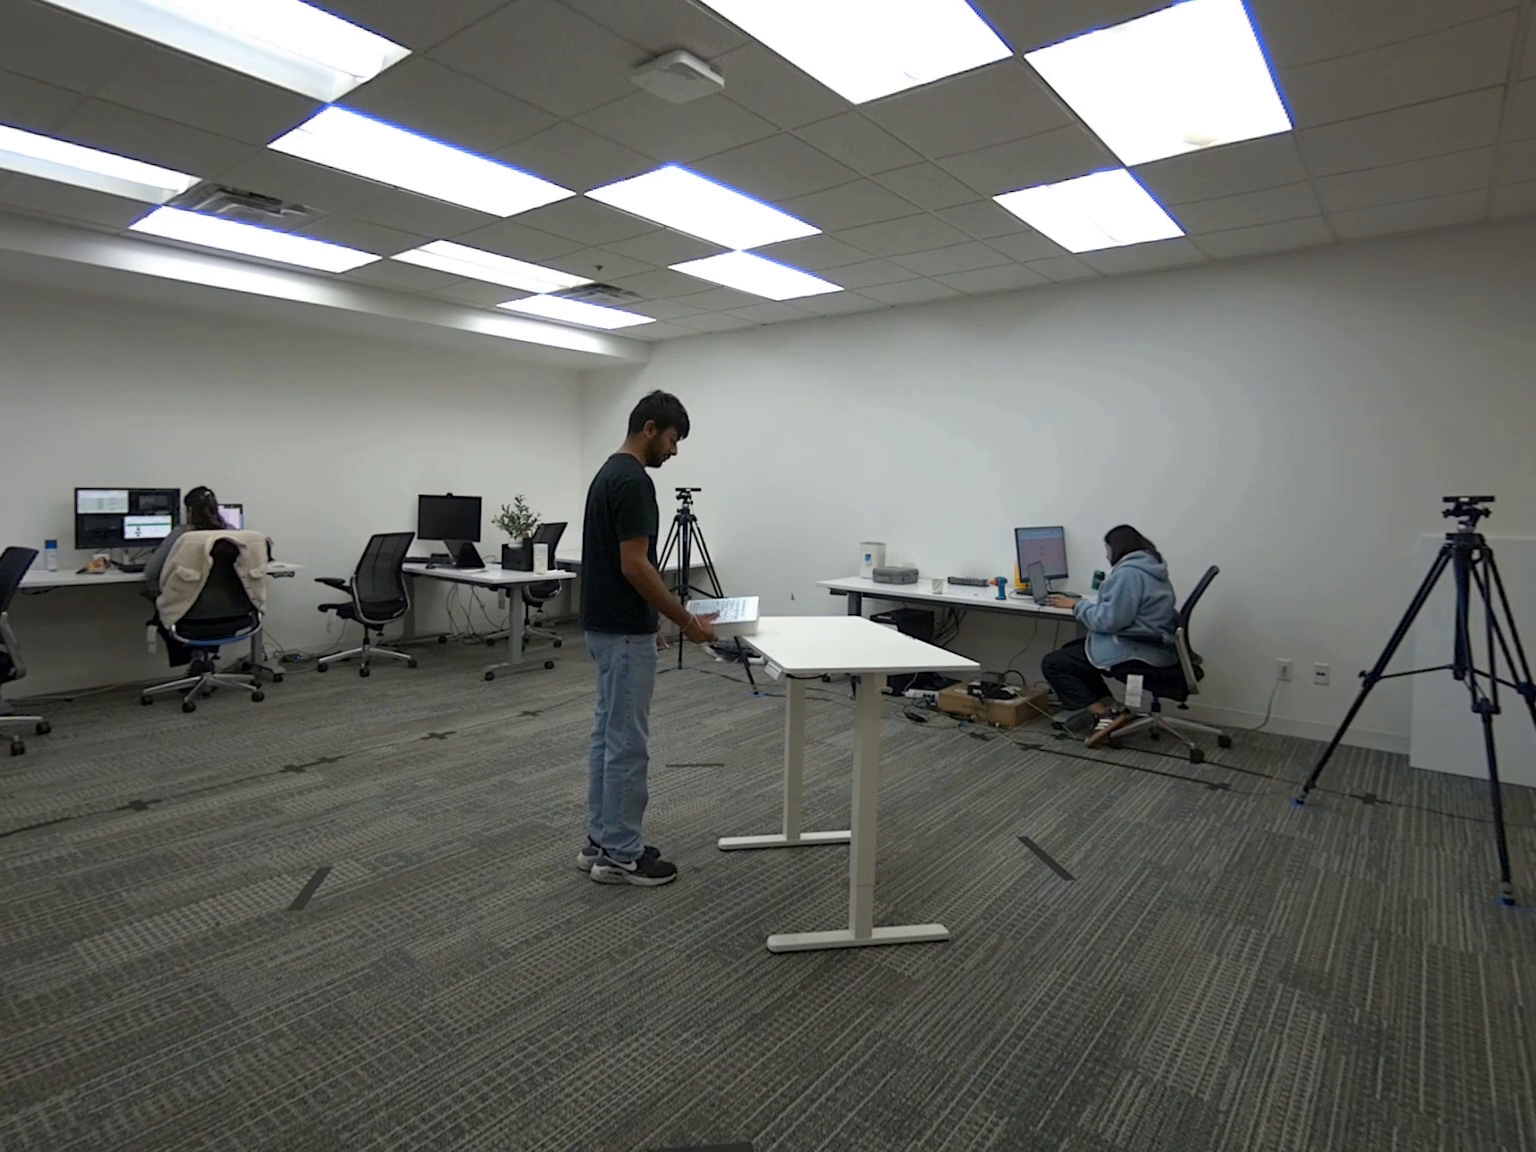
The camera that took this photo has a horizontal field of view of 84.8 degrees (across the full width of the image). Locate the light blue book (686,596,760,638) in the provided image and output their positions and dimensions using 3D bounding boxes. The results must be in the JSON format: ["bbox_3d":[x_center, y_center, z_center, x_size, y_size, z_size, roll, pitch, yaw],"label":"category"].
[{"bbox_3d":[-0.175,0.146,3.014,0.263,0.057,0.194,-3,25,8],"label":"light blue book"}]
